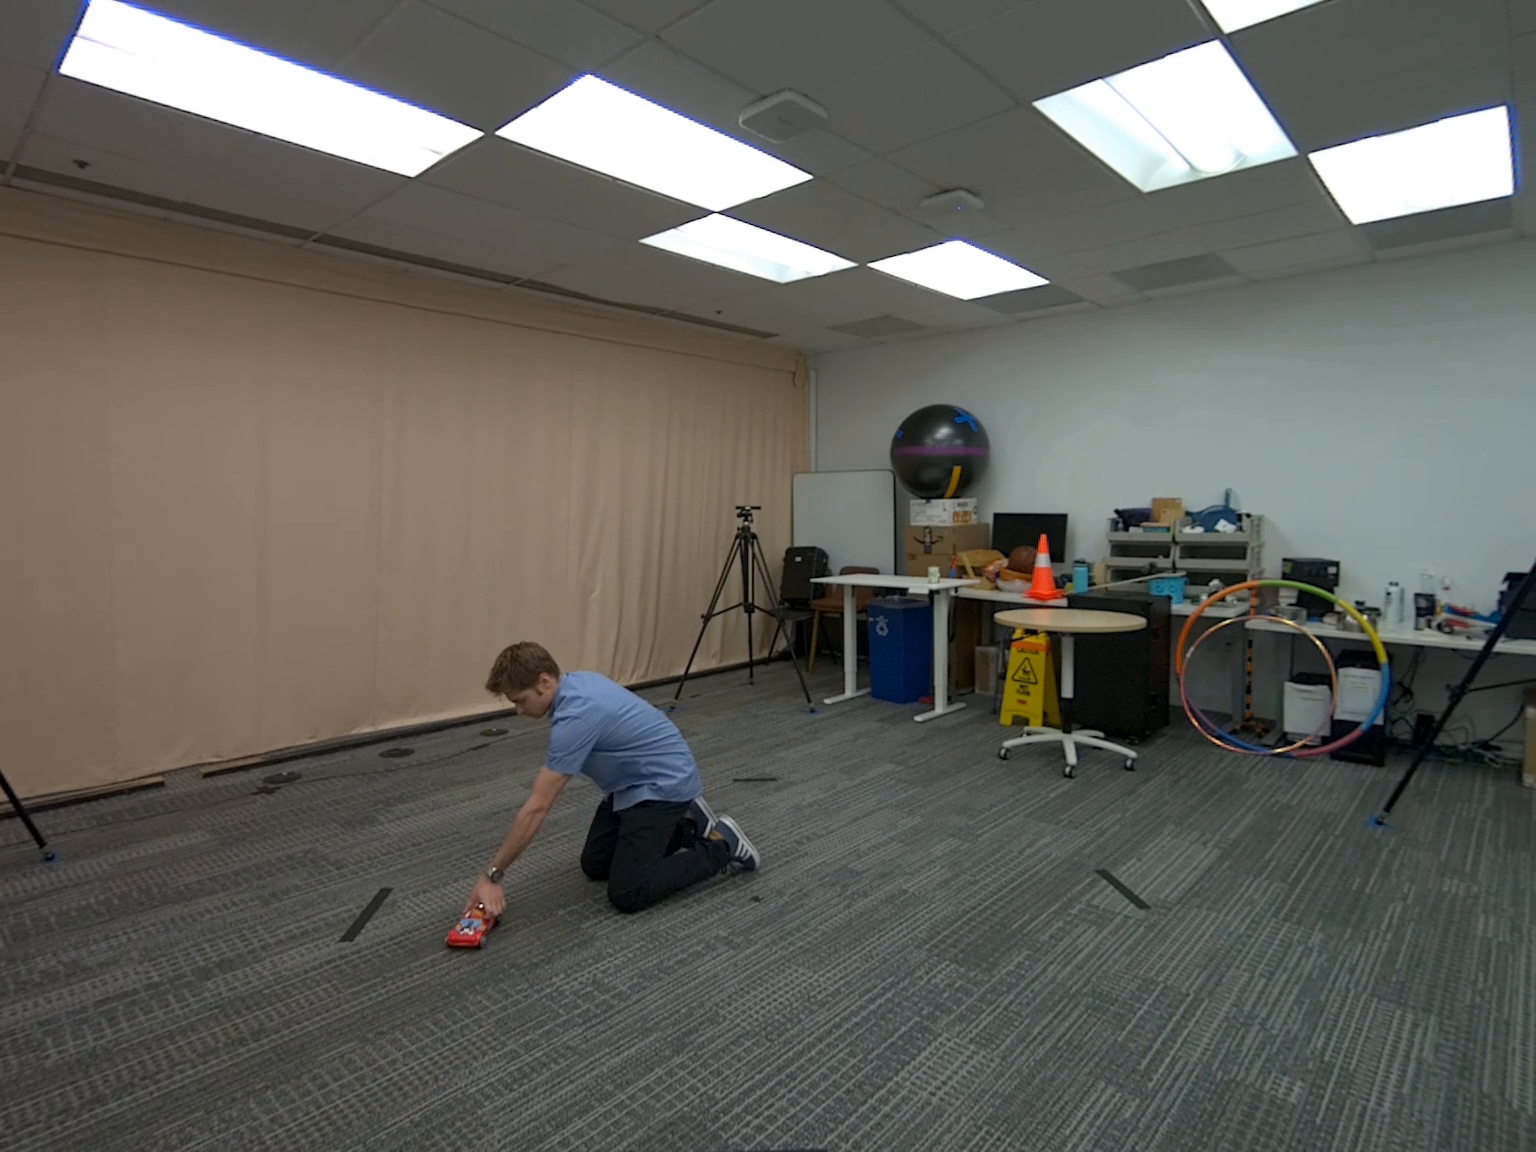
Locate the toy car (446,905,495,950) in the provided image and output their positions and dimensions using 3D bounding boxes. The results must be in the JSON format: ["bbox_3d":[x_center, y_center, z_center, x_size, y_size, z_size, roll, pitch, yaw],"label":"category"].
[{"bbox_3d":[-0.961,1.139,2.759,0.130,0.082,0.256,0,13,1],"label":"toy car"}]
